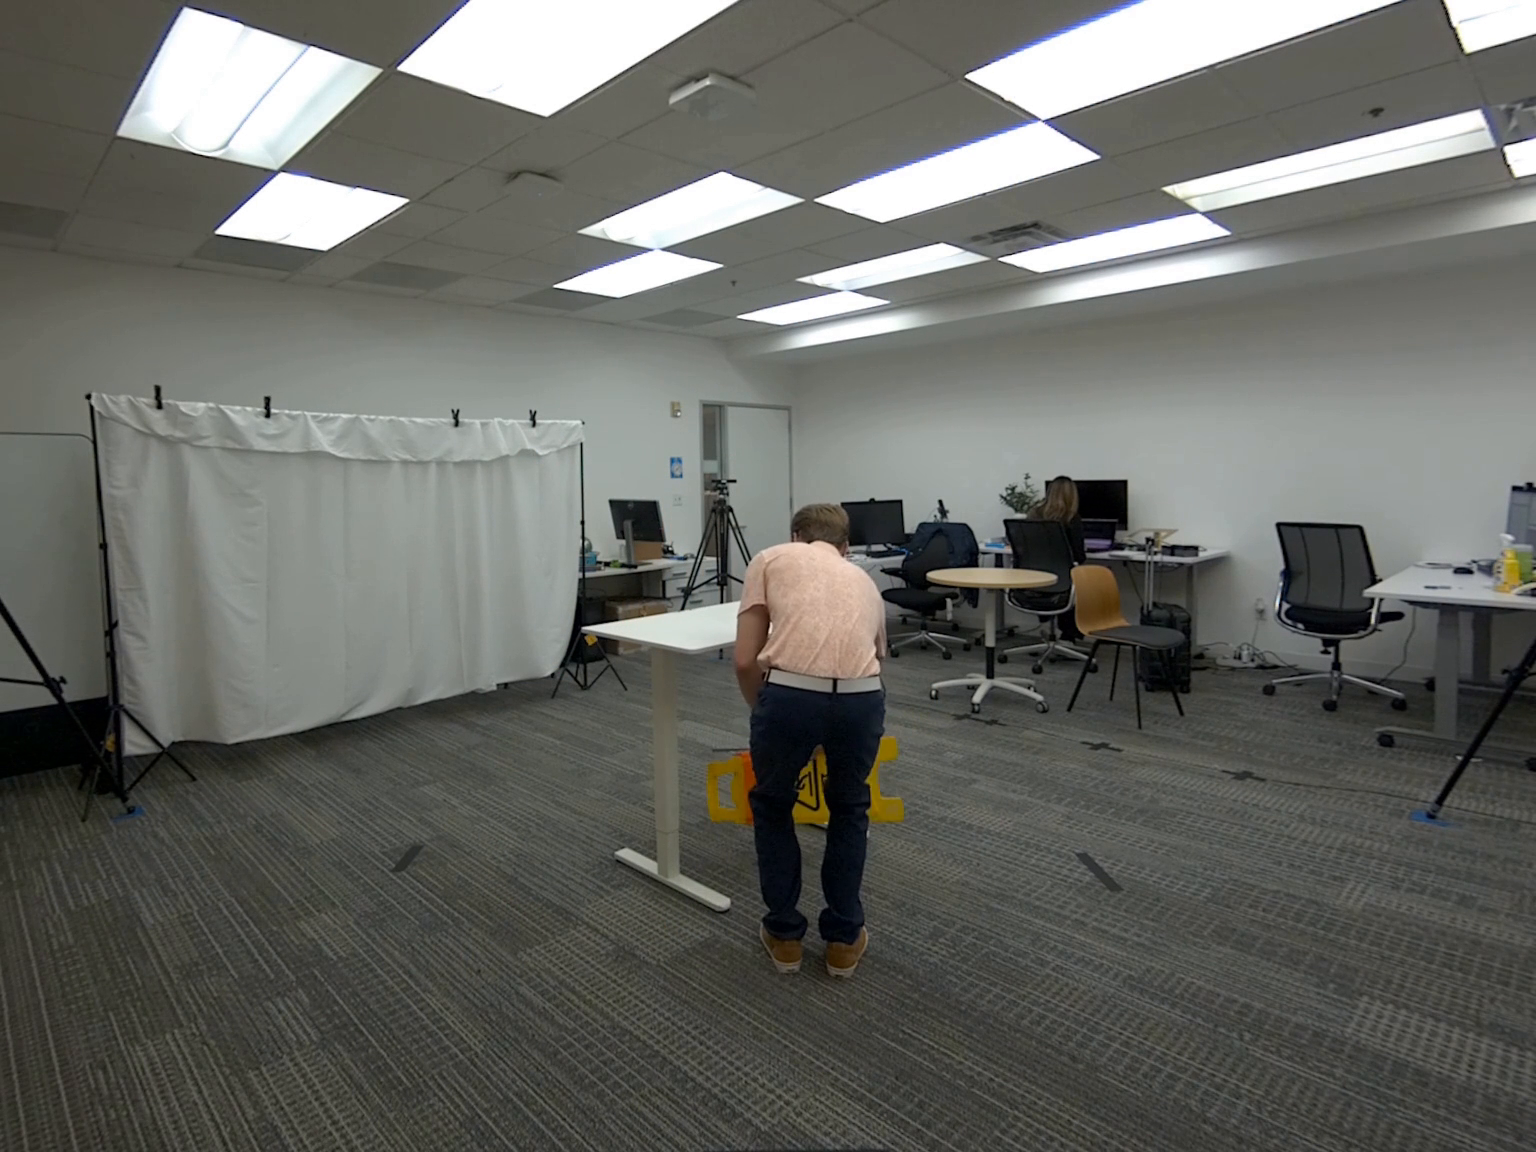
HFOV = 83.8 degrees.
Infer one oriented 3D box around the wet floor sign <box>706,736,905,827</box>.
[{"bbox_3d":[0.114,0.729,2.989,0.639,0.286,0.289,-2,-14,-11],"label":"wet floor sign"}]
